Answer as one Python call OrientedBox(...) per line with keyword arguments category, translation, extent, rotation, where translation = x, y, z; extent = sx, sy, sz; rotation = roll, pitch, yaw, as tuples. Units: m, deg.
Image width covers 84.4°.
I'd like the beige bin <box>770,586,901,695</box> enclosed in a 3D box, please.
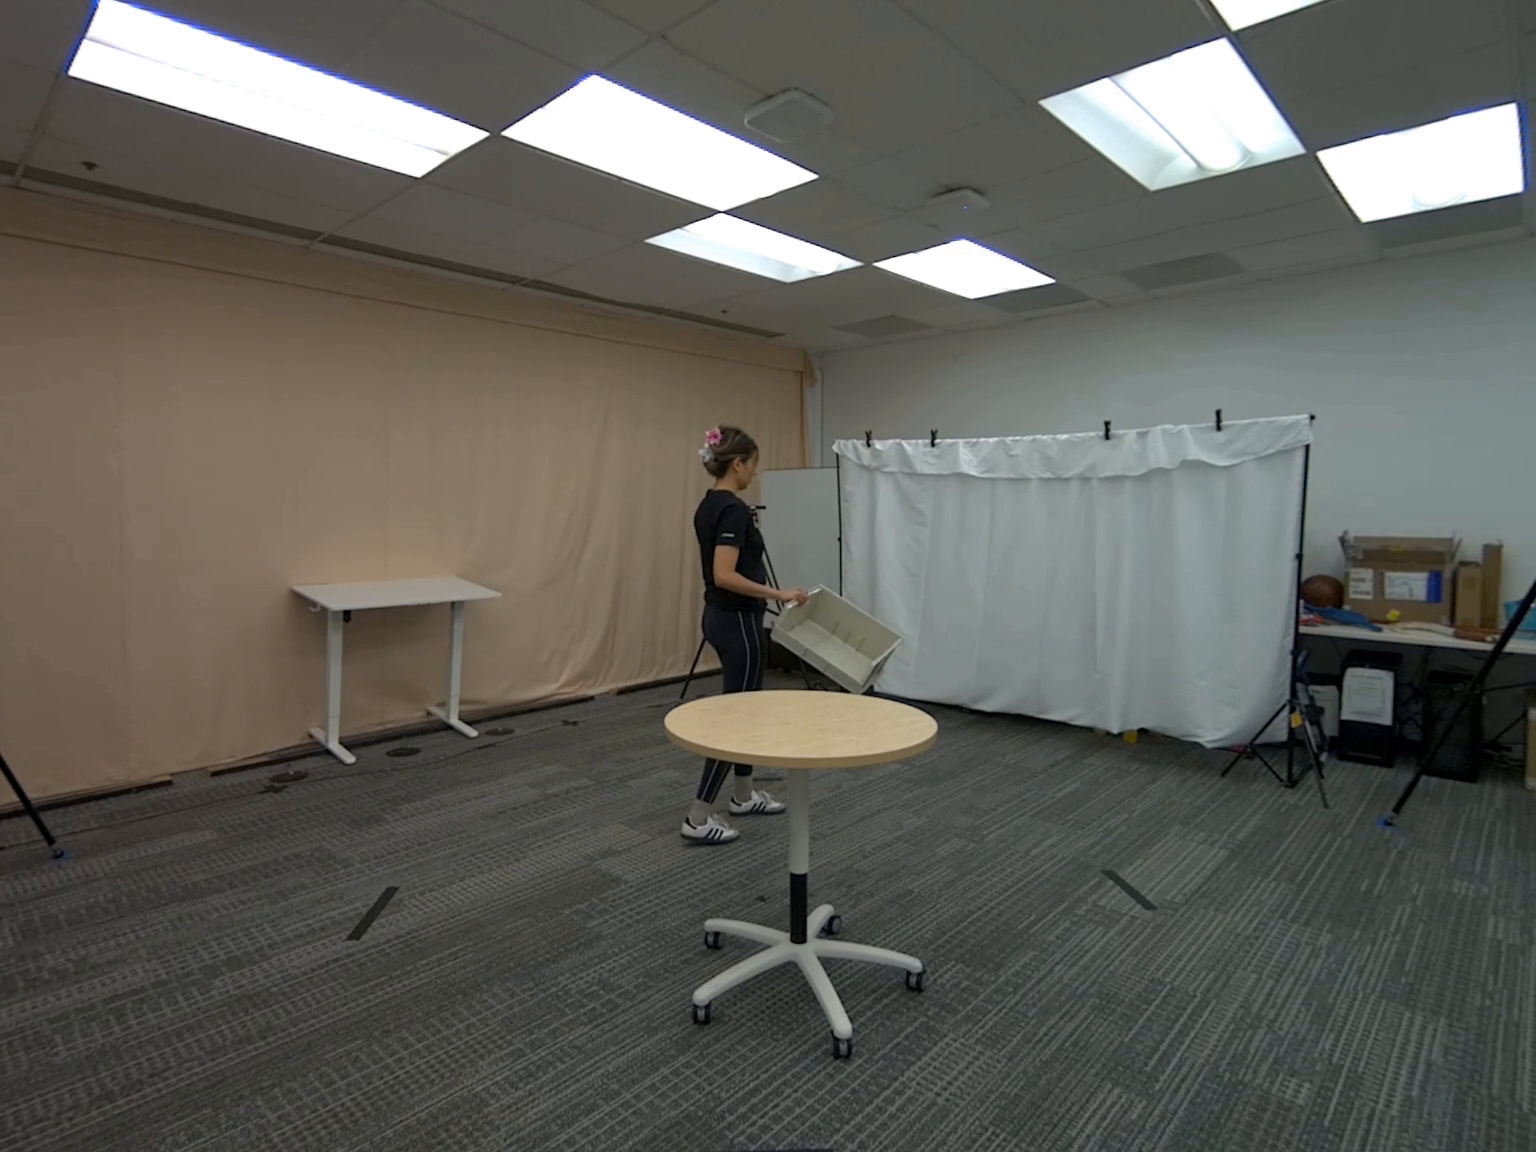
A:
OrientedBox(category="beige bin", translation=(0.277, 0.262, 3.407), extent=(0.432, 0.188, 0.370), rotation=(32, 25, 19))
